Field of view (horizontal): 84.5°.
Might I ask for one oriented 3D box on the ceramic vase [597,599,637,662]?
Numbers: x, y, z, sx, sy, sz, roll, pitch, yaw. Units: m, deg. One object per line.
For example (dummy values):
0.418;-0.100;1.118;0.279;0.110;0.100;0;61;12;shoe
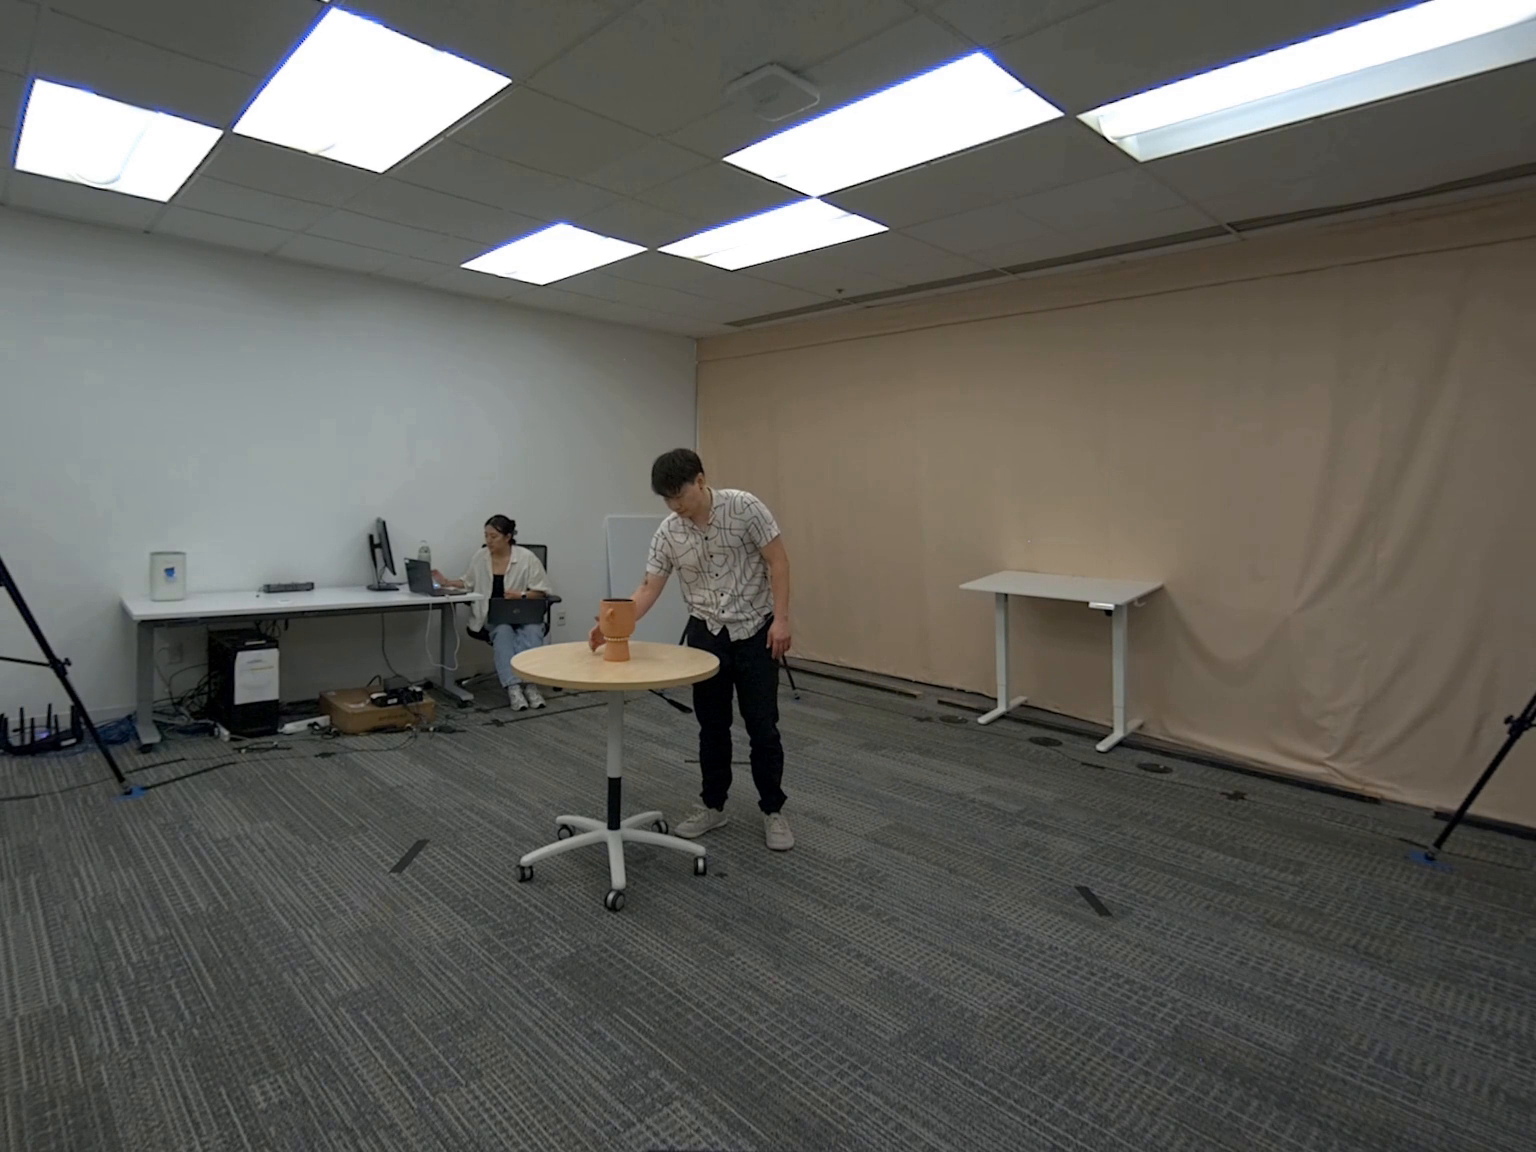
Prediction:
-0.577;0.201;3.120;0.155;0.219;0.138;-1;5;-38;ceramic vase
